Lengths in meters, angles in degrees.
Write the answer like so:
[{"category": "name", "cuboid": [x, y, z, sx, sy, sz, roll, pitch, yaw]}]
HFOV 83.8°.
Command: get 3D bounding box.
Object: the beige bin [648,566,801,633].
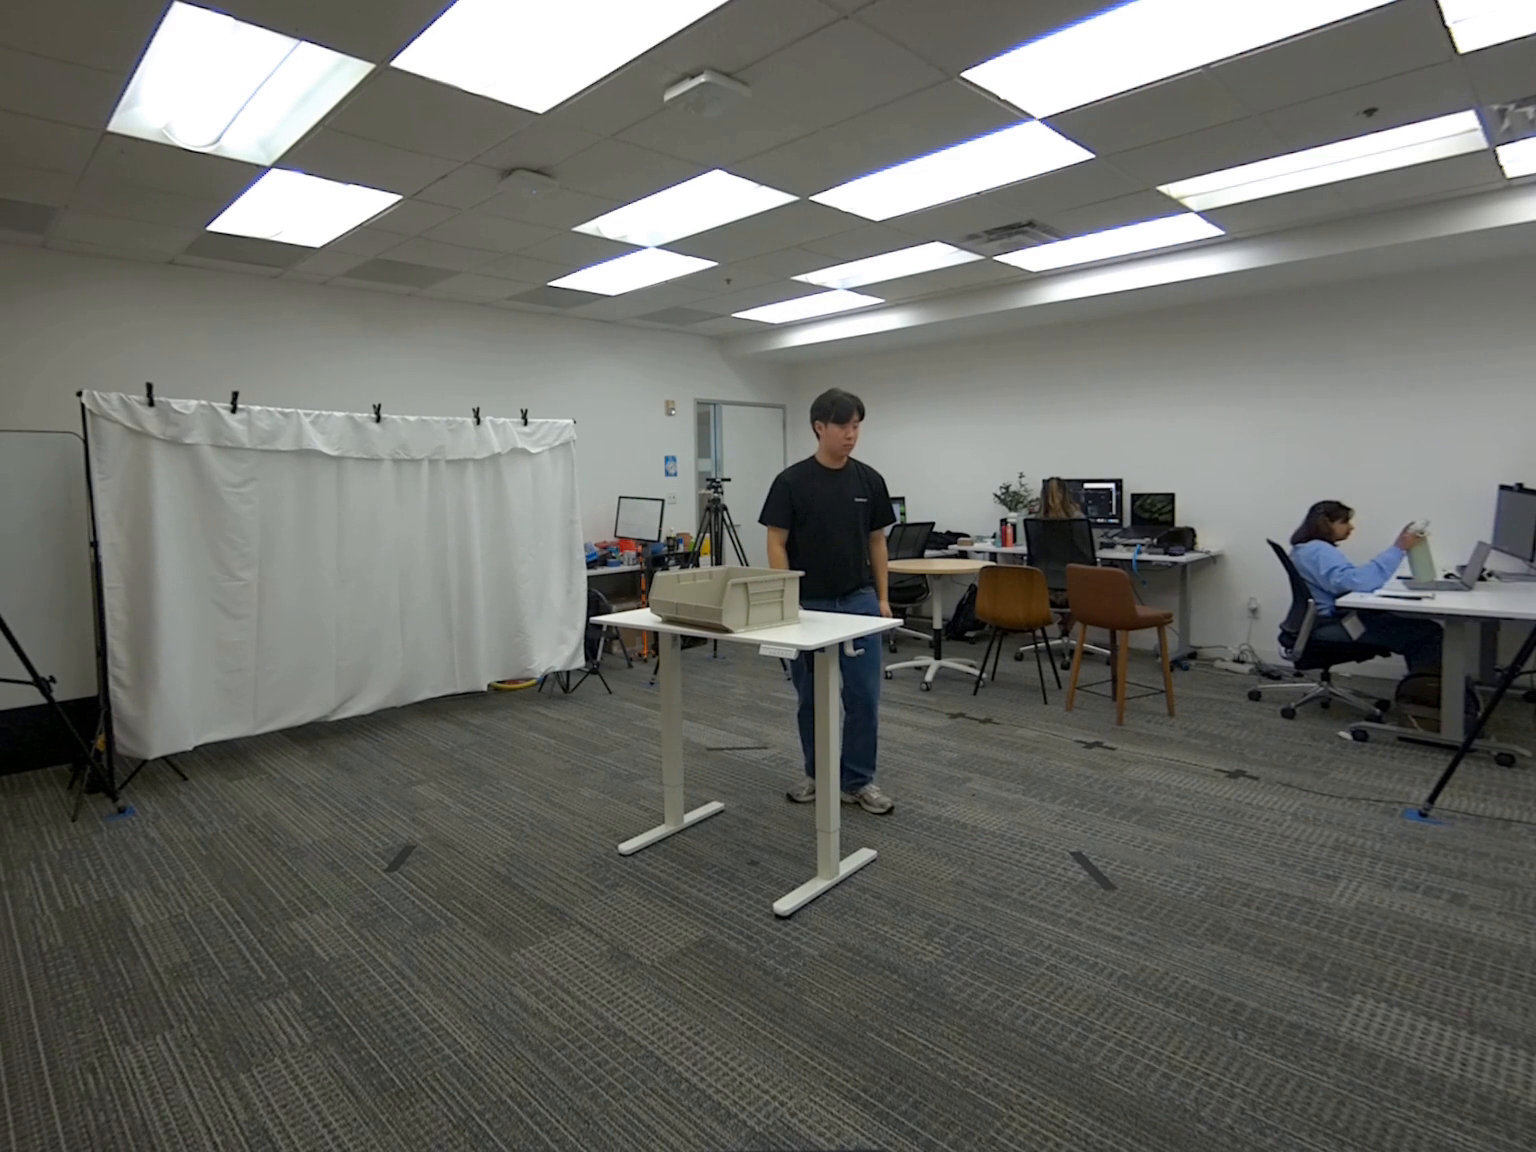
[{"category": "beige bin", "cuboid": [-0.147, 0.078, 3.043, 0.367, 0.188, 0.435, -4, 6, -42]}]
